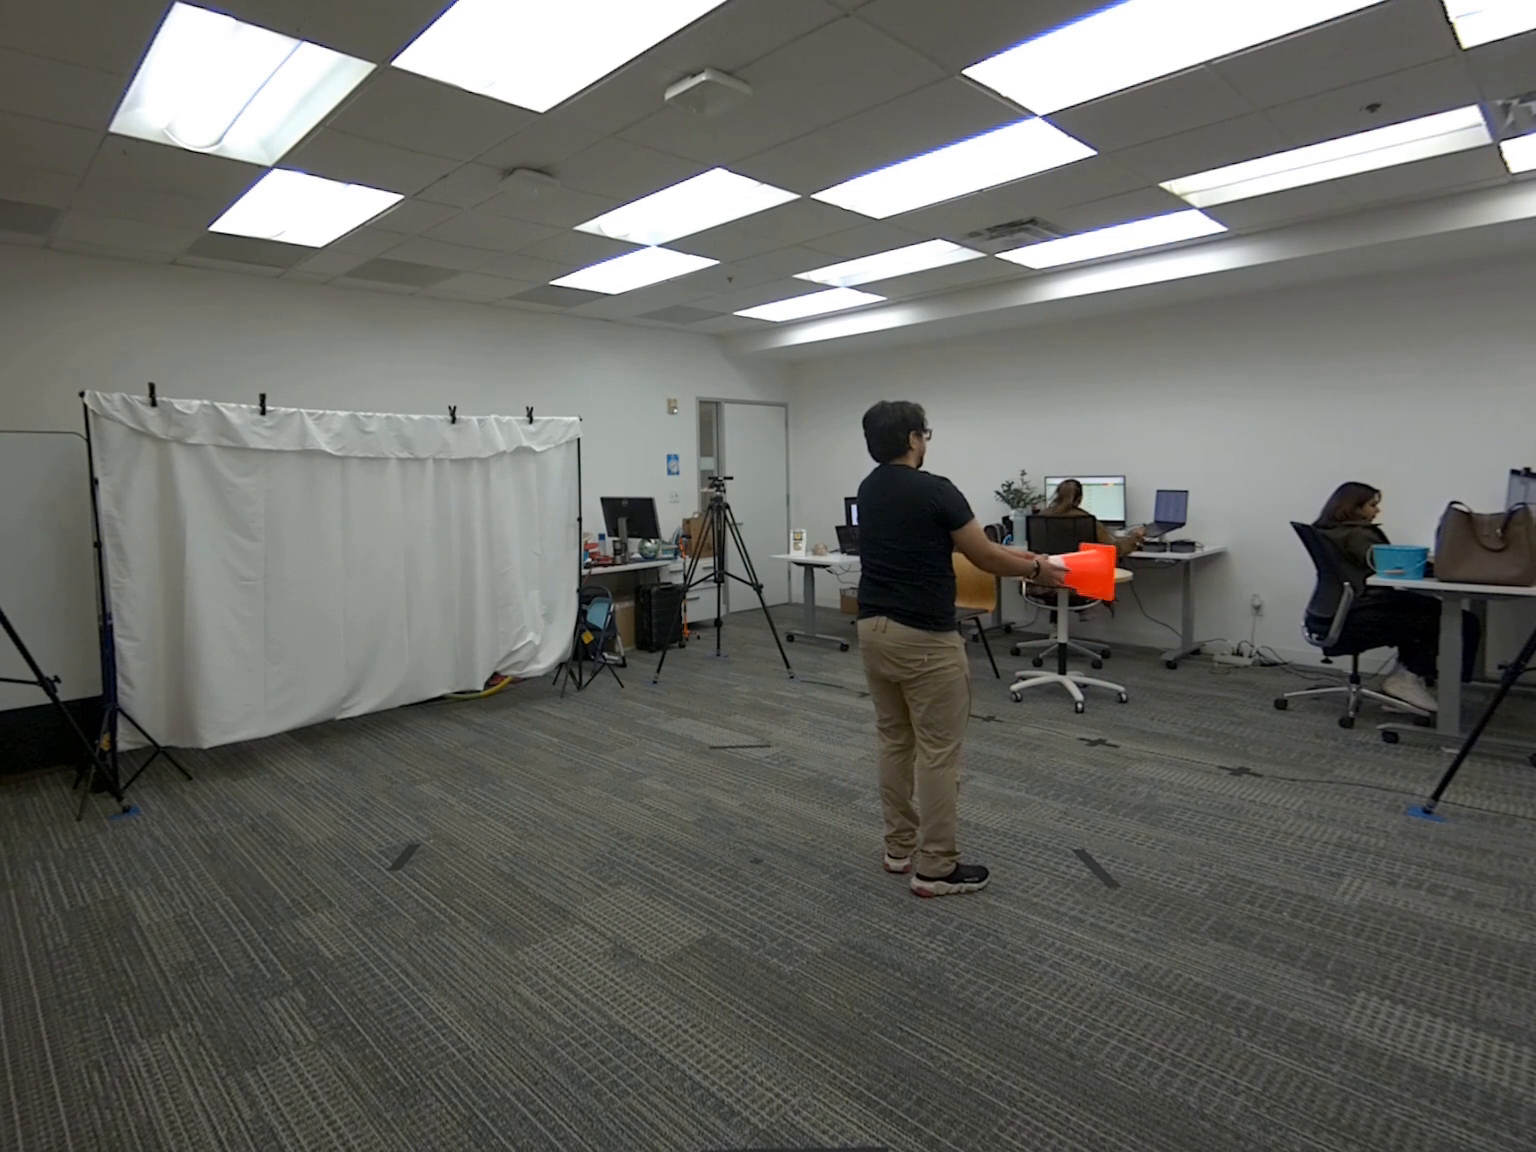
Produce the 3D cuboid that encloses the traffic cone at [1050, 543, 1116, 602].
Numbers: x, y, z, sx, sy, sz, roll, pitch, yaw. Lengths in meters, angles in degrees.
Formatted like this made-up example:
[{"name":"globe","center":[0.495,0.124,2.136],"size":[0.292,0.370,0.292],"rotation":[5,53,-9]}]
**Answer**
[{"name":"traffic cone","center":[1.019,-0.016,3.105],"size":[0.377,0.205,0.207],"rotation":[0,2,-17]}]
